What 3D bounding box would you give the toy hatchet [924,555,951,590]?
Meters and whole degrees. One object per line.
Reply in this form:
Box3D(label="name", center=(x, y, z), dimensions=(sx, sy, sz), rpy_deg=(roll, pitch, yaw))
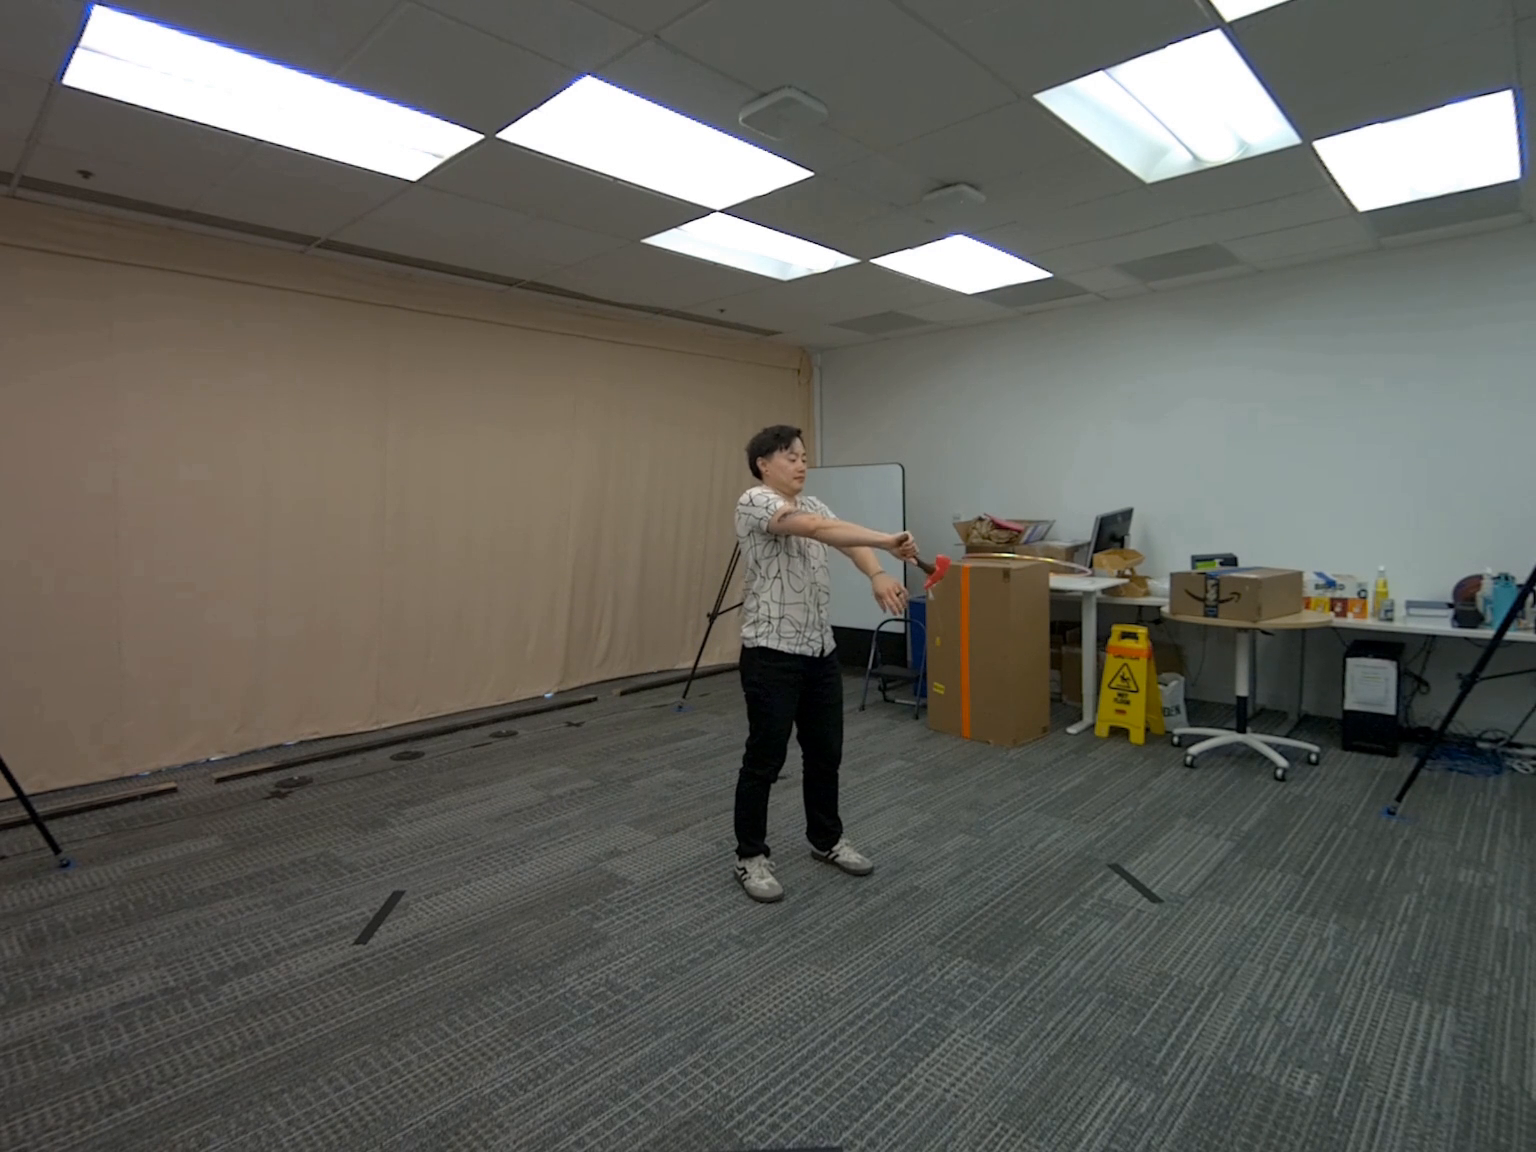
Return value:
Box3D(label="toy hatchet", center=(0.510, -0.071, 2.794), dimensions=(0.131, 0.261, 0.030), rpy_deg=(-39, 32, 6))
